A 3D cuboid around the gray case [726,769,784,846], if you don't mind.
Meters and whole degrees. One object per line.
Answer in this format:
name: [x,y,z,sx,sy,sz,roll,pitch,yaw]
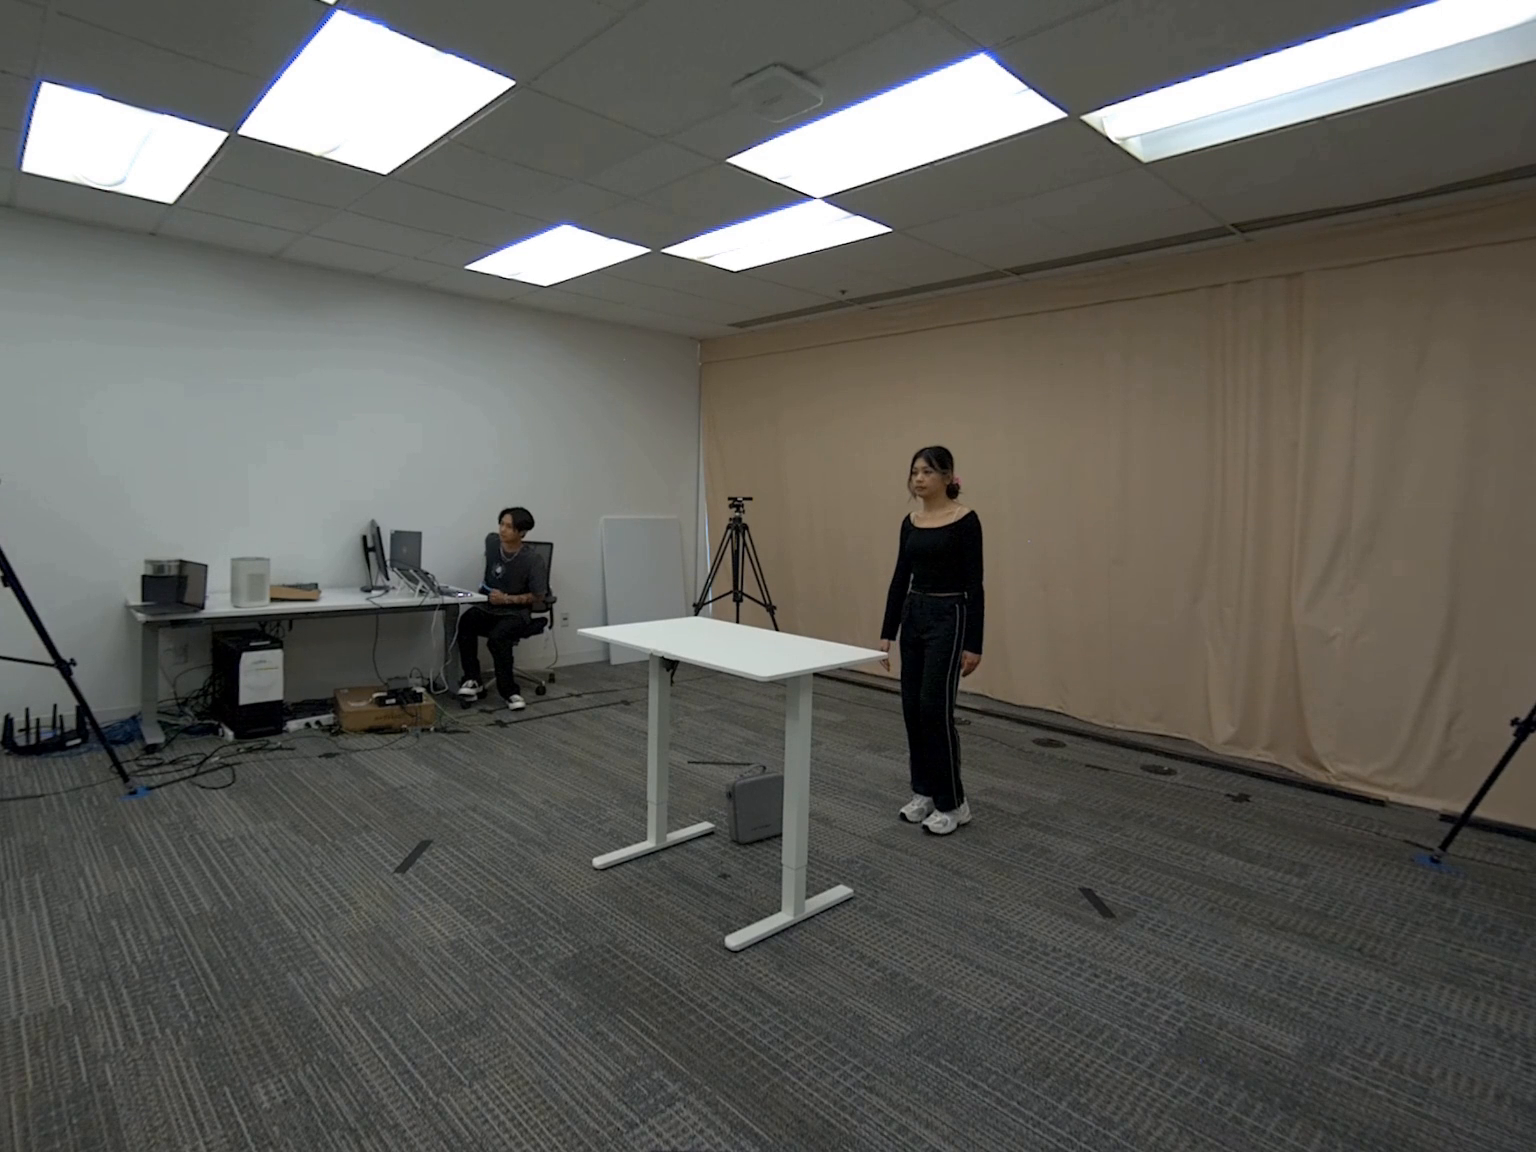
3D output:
gray case: [-0.054,0.945,3.478,0.251,0.262,0.106,-2,-6,-35]
